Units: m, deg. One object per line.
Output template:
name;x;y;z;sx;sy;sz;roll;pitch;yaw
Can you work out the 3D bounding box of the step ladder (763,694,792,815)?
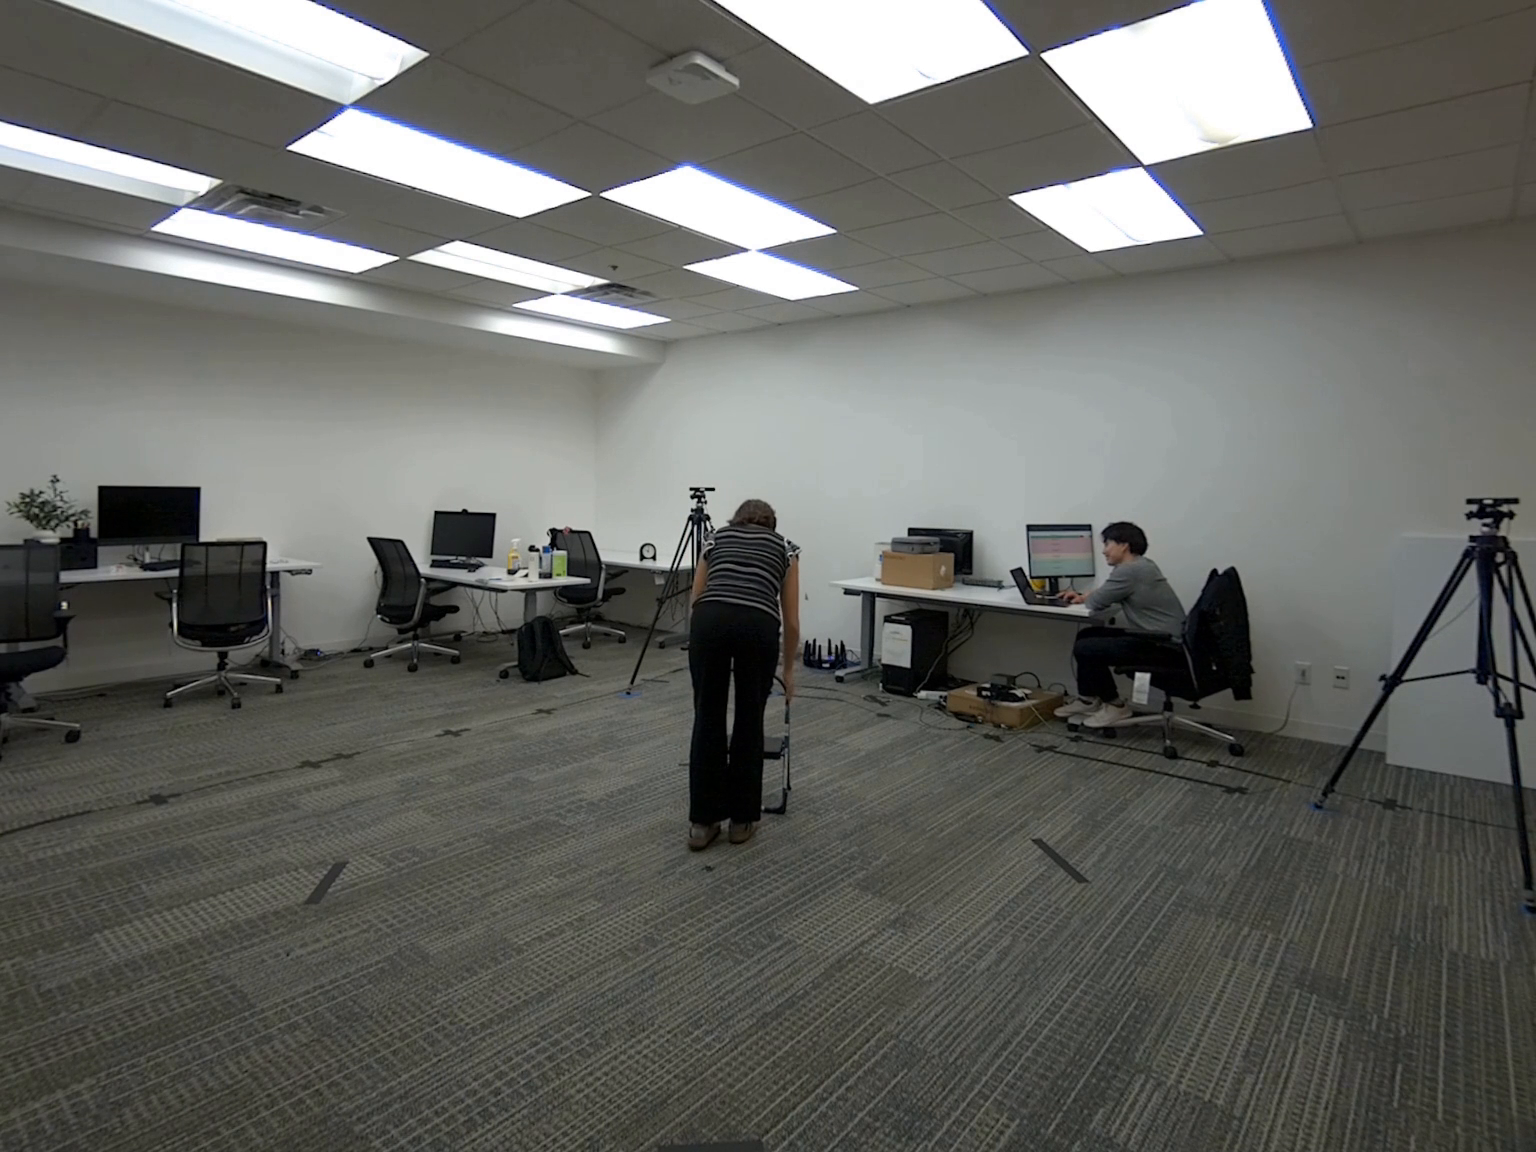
step ladder;-0.116;0.692;3.824;0.434;0.604;0.348;1;3;6
